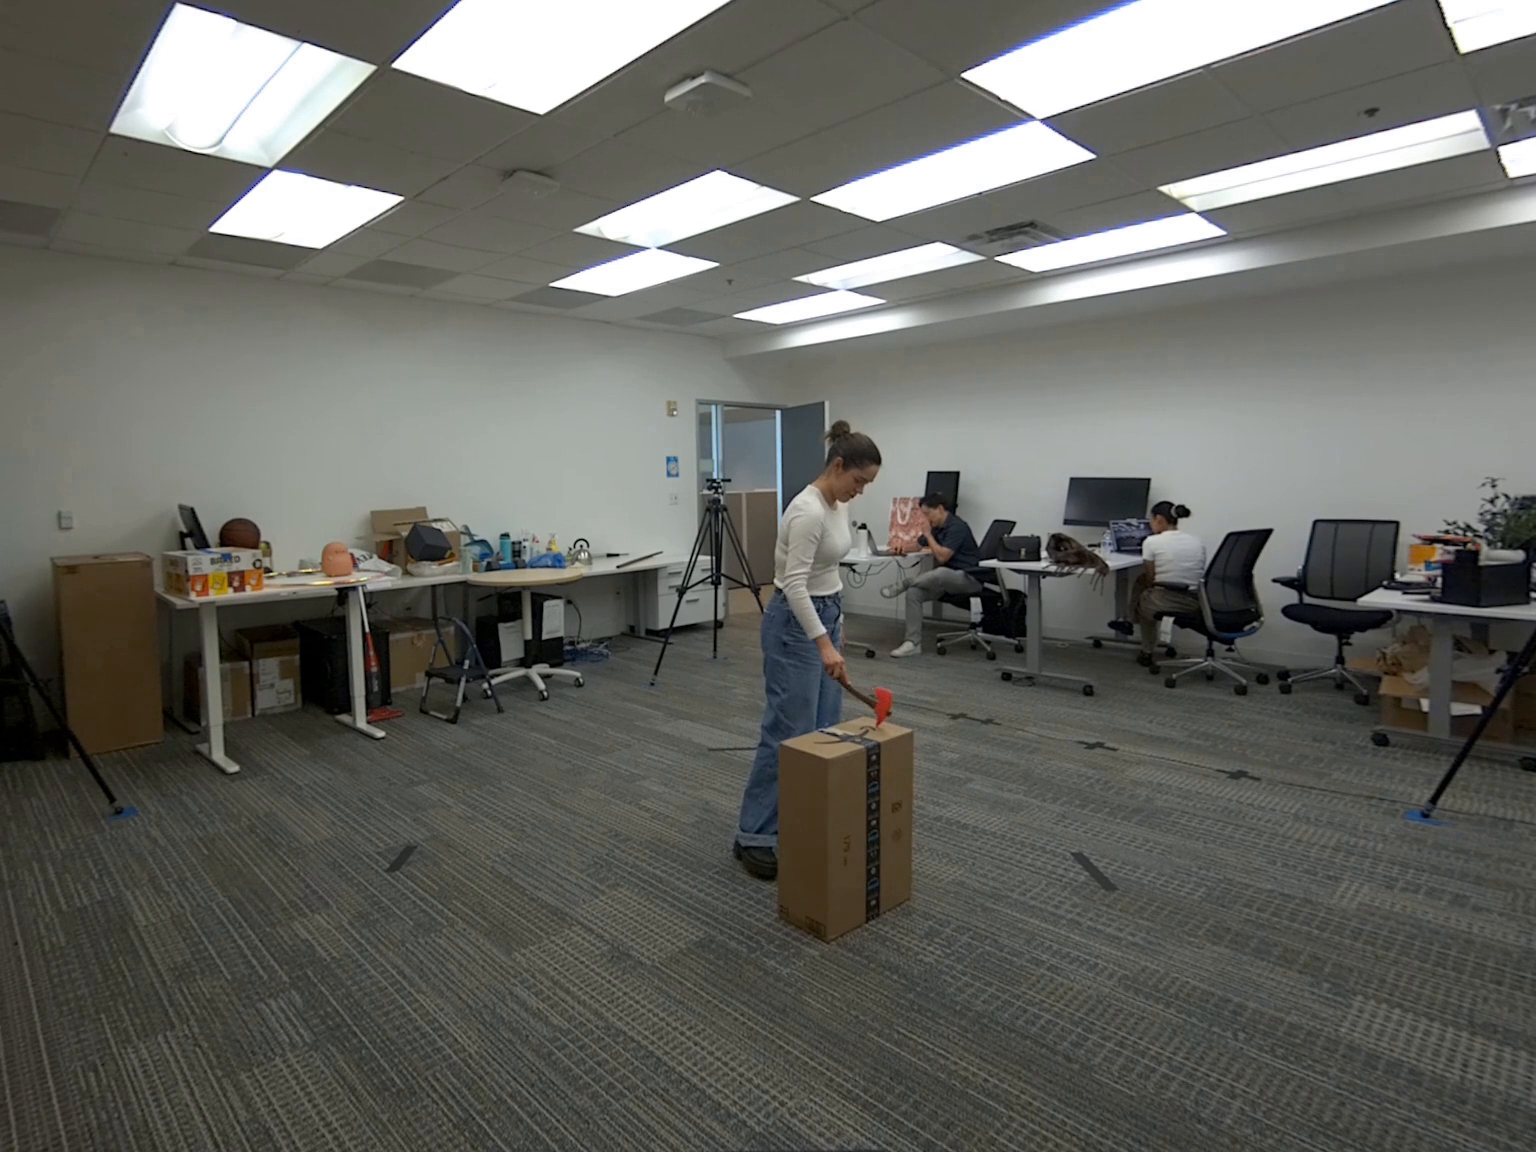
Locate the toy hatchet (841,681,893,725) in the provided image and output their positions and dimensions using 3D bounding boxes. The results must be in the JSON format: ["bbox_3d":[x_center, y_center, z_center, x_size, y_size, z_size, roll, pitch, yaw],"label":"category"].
[{"bbox_3d":[0.318,0.368,2.864,0.029,0.130,0.279,-6,47,-47],"label":"toy hatchet"}]
